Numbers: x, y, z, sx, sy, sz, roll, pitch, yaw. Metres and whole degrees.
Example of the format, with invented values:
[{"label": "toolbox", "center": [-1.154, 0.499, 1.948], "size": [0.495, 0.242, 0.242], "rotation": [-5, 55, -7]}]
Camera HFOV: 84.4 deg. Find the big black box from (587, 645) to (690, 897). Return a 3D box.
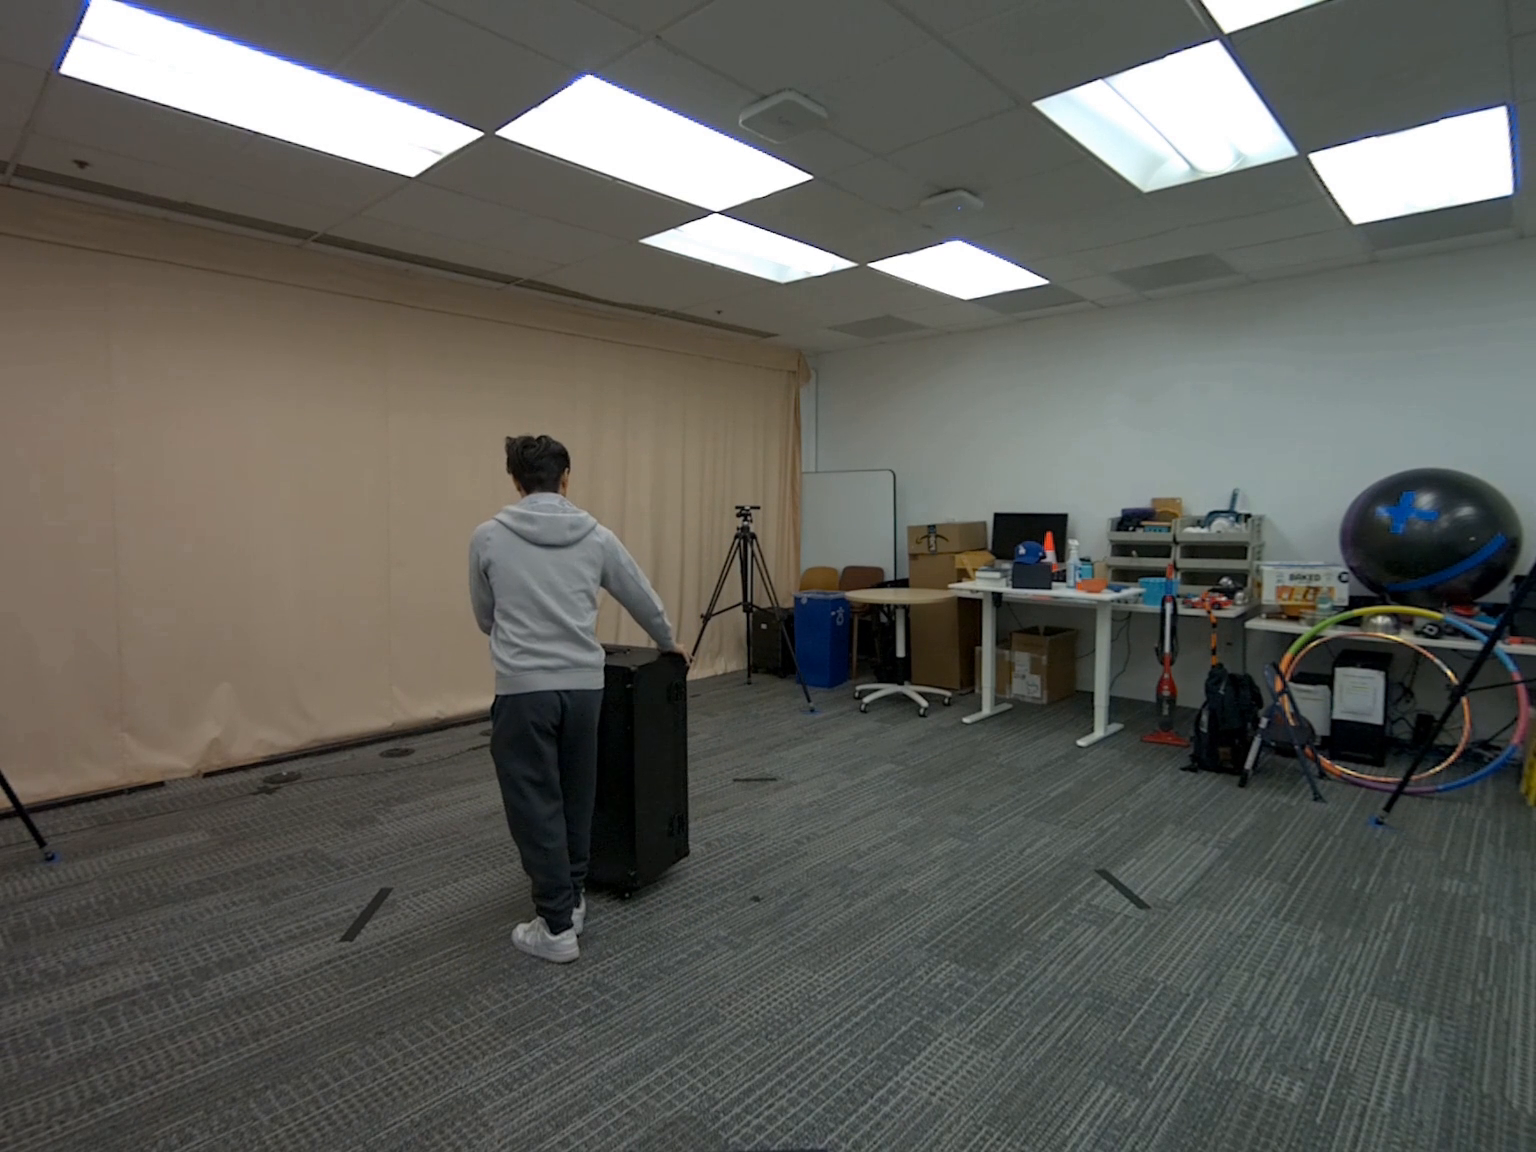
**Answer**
[{"label": "big black box", "center": [-0.591, 0.713, 3.136], "size": [0.536, 0.859, 0.386], "rotation": [2, 5, 28]}]
